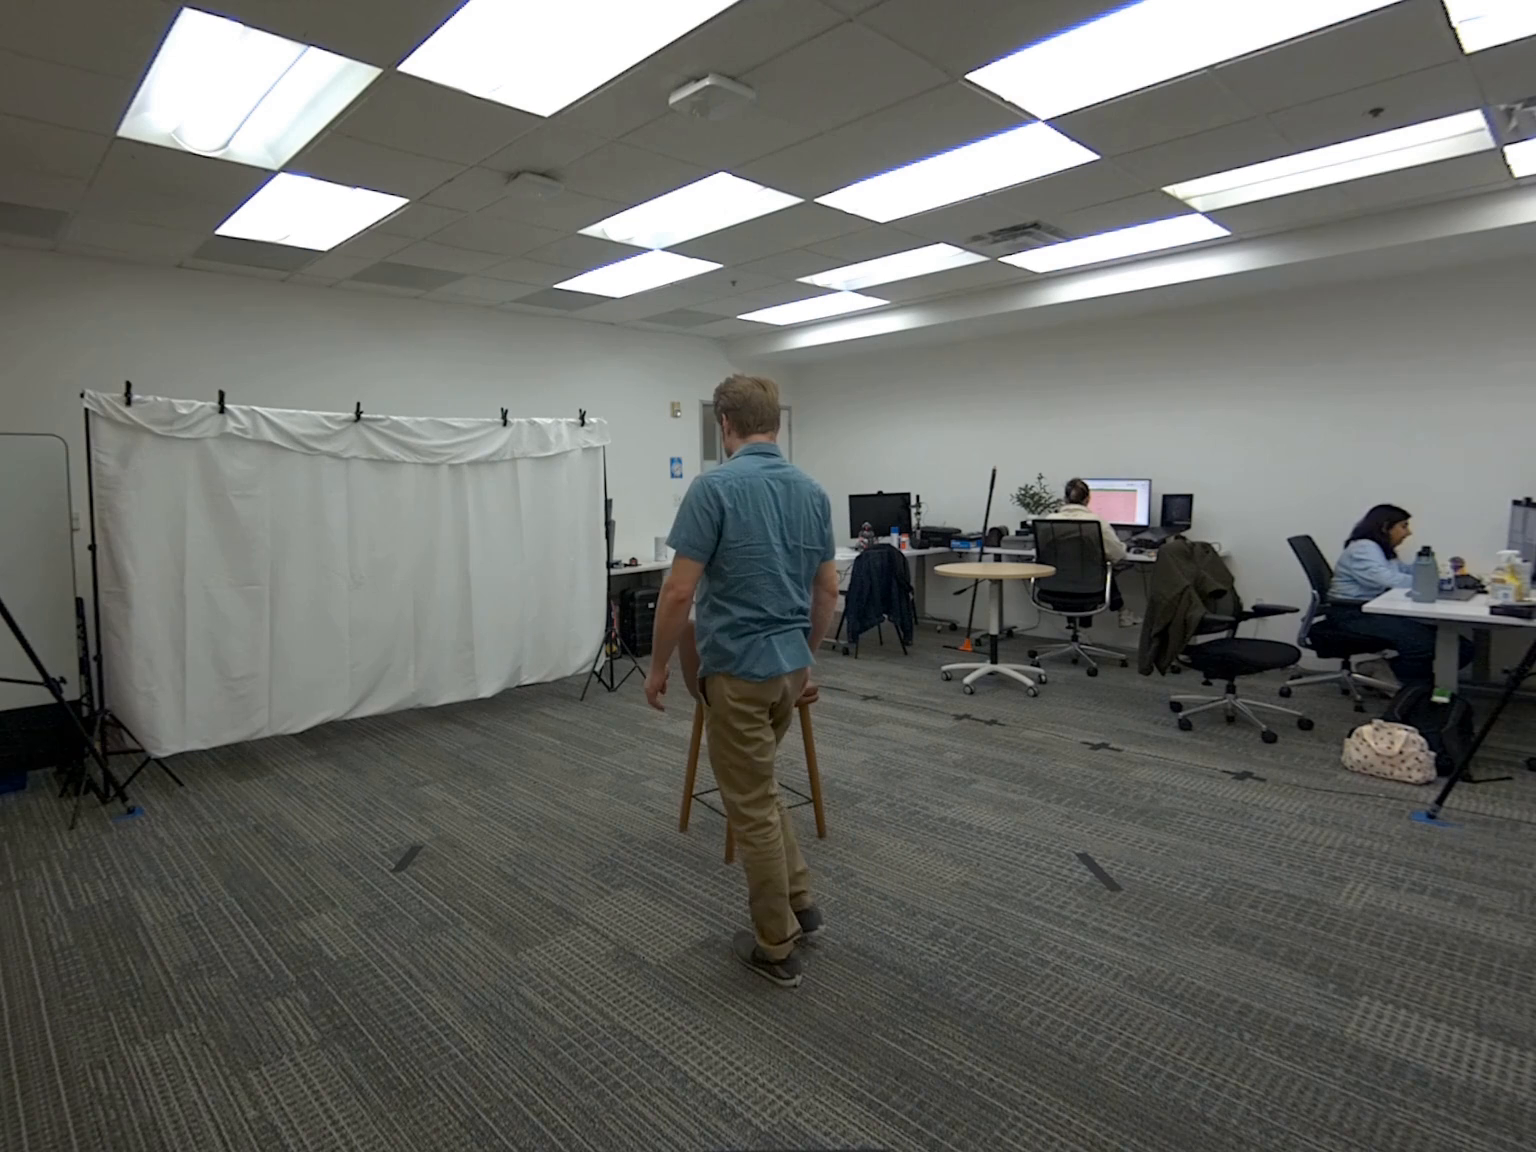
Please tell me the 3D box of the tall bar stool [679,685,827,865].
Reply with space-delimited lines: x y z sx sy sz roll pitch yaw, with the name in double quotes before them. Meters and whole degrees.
"tall bar stool" -0.075 0.586 3.355 0.456 0.886 0.470 -5 6 -34
